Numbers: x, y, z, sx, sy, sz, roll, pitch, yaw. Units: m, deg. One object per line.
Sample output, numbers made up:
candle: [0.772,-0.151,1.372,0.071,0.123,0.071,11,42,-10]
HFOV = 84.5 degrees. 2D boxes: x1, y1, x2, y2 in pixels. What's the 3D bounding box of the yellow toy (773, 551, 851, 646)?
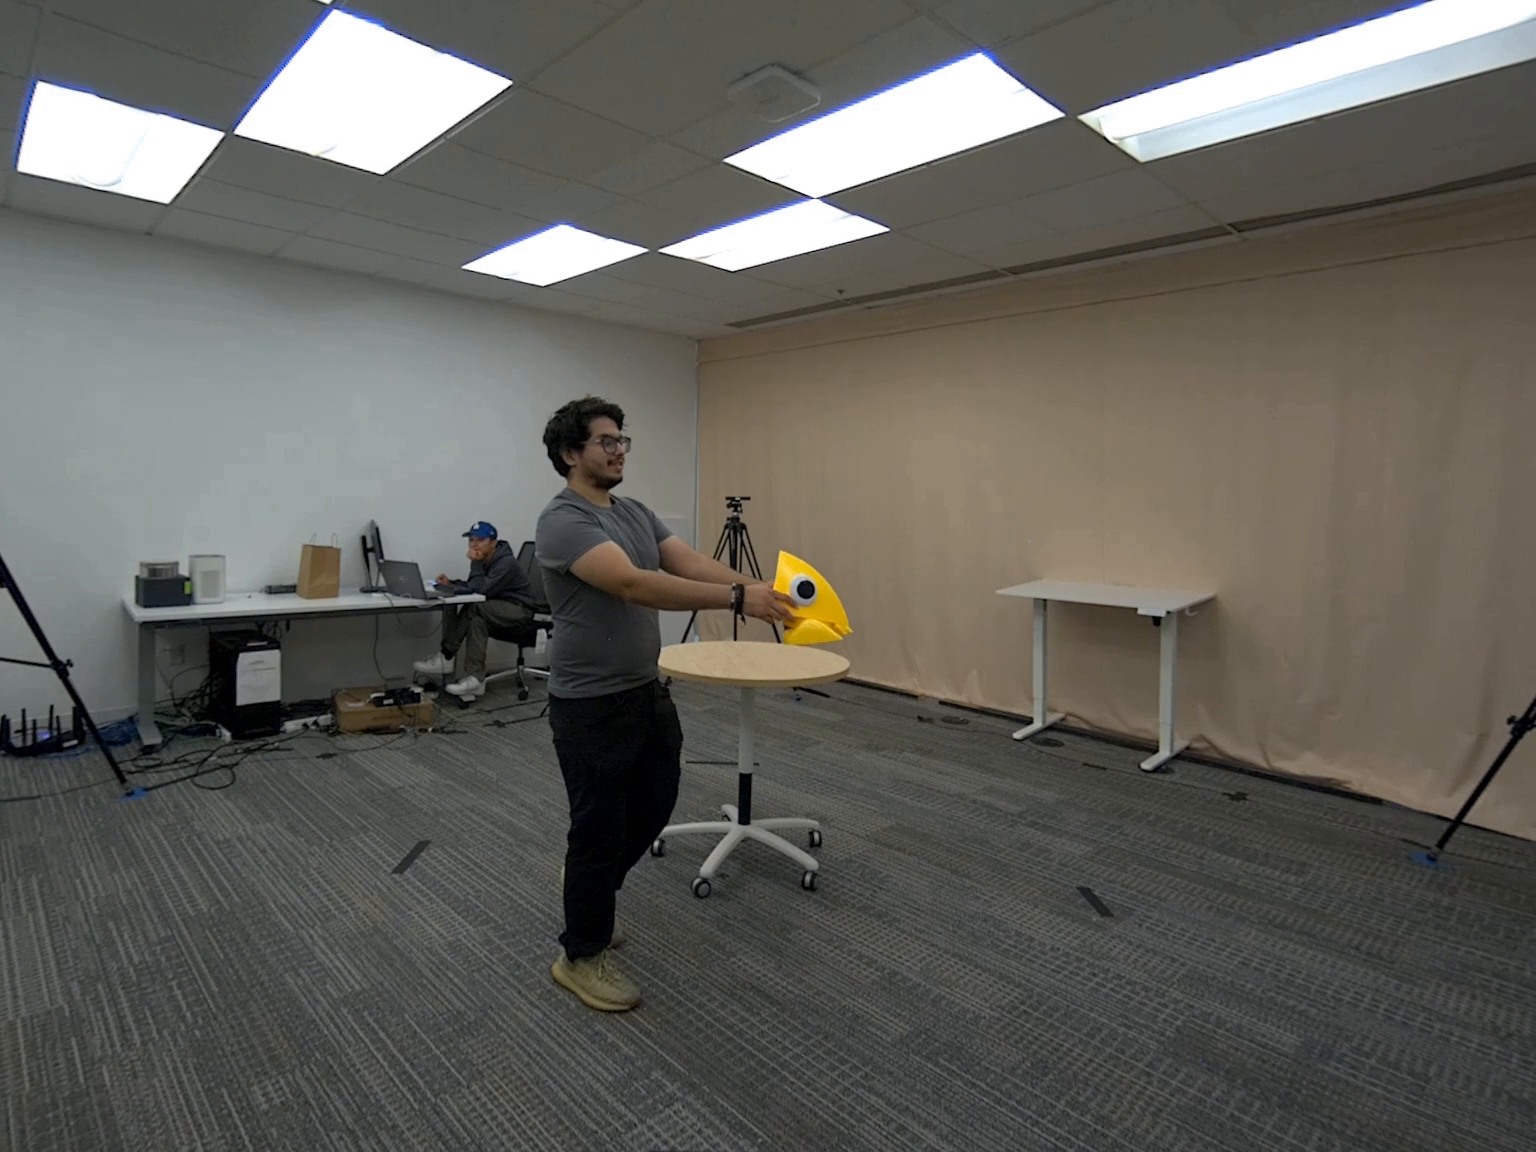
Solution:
yellow toy: [0.095,0.051,2.133,0.195,0.231,0.202,-5,1,18]
